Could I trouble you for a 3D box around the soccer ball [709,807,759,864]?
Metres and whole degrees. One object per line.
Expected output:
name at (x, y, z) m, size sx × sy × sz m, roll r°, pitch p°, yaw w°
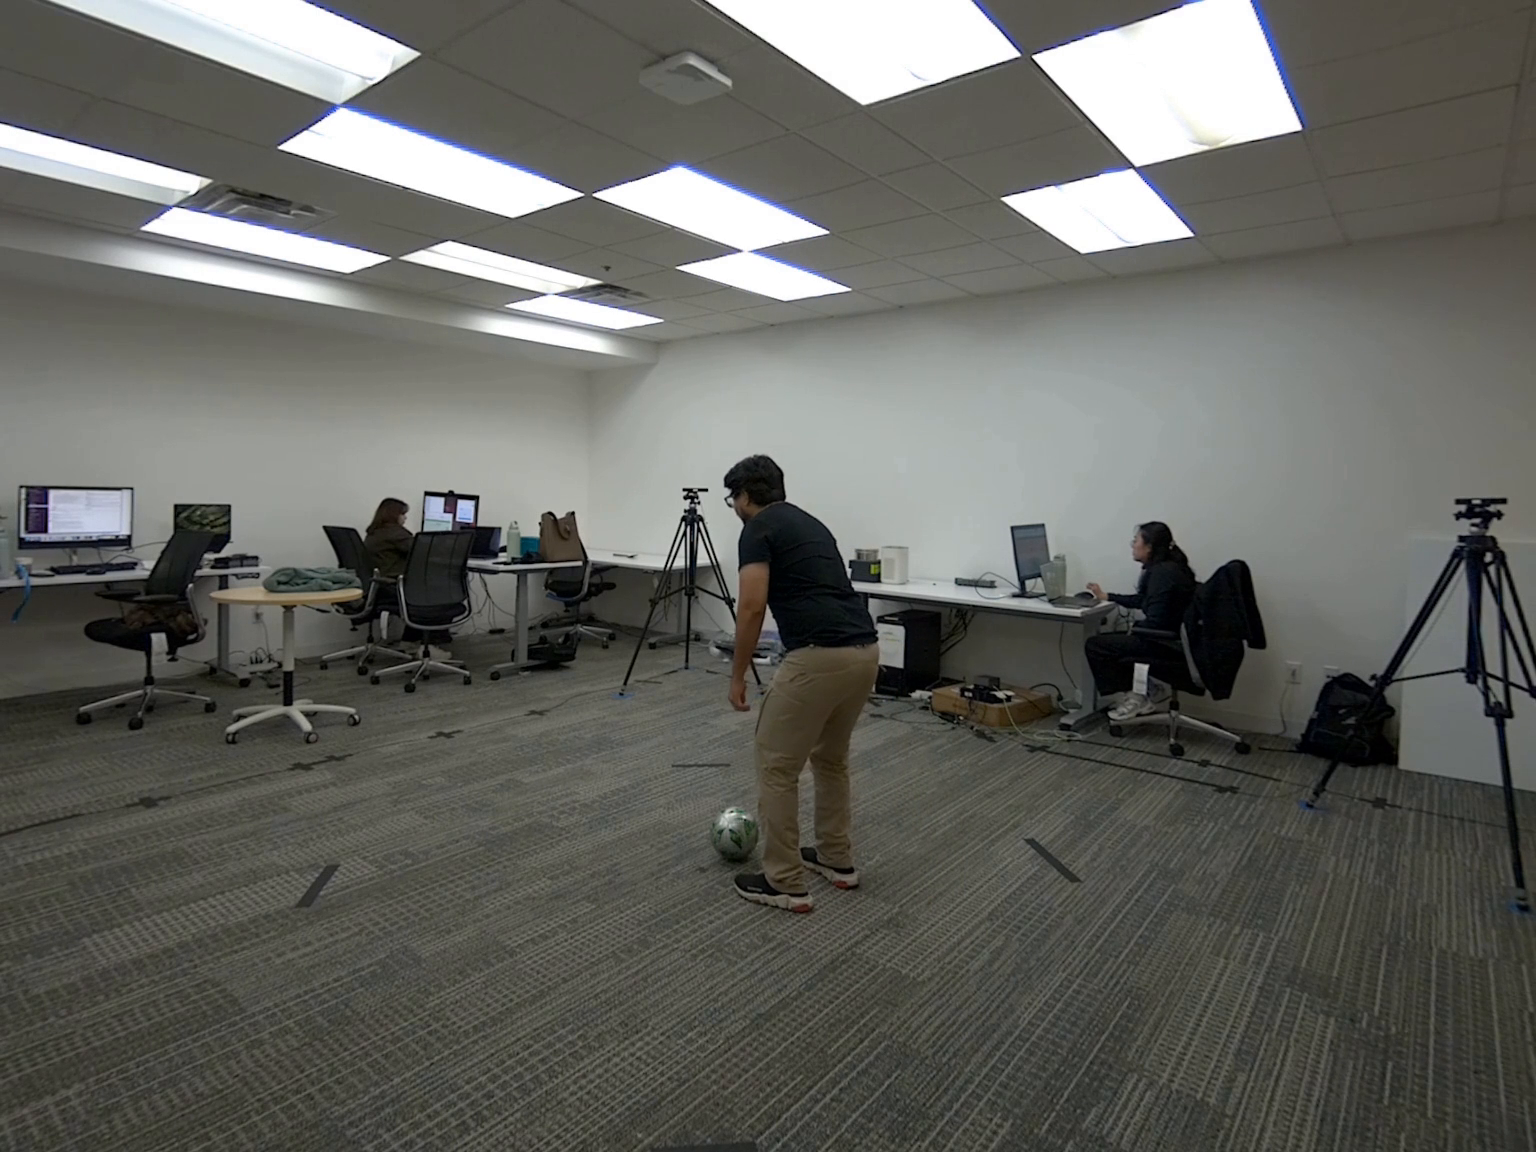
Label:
soccer ball at (-0.135, 0.968, 3.209) m, size 0.187 × 0.187 × 0.188 m, roll 1°, pitch 4°, yaw -2°
